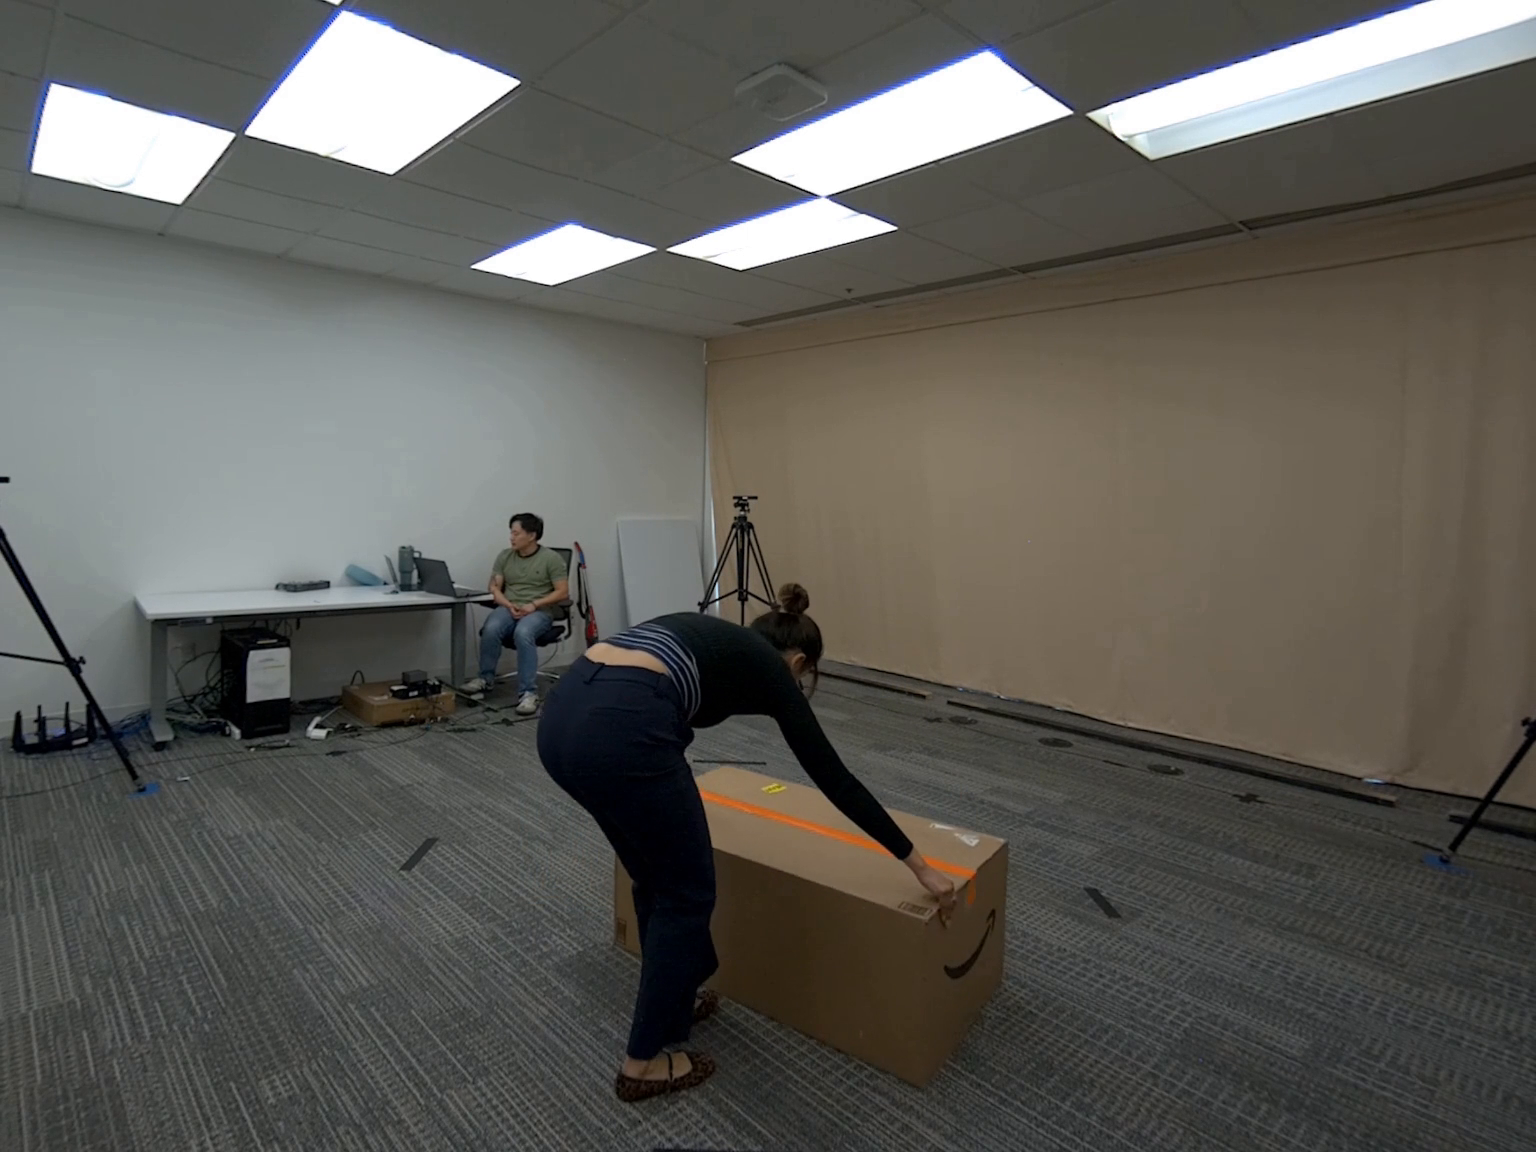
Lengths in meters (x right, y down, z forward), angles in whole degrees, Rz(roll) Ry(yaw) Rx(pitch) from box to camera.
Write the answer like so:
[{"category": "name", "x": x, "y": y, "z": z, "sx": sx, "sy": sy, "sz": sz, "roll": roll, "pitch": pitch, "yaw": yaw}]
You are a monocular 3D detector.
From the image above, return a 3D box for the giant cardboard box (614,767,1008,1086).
[{"category": "giant cardboard box", "x": 0.102, "y": 0.951, "z": 2.508, "sx": 1.051, "sy": 0.425, "sz": 0.565, "roll": 5, "pitch": 6, "yaw": 35}]
